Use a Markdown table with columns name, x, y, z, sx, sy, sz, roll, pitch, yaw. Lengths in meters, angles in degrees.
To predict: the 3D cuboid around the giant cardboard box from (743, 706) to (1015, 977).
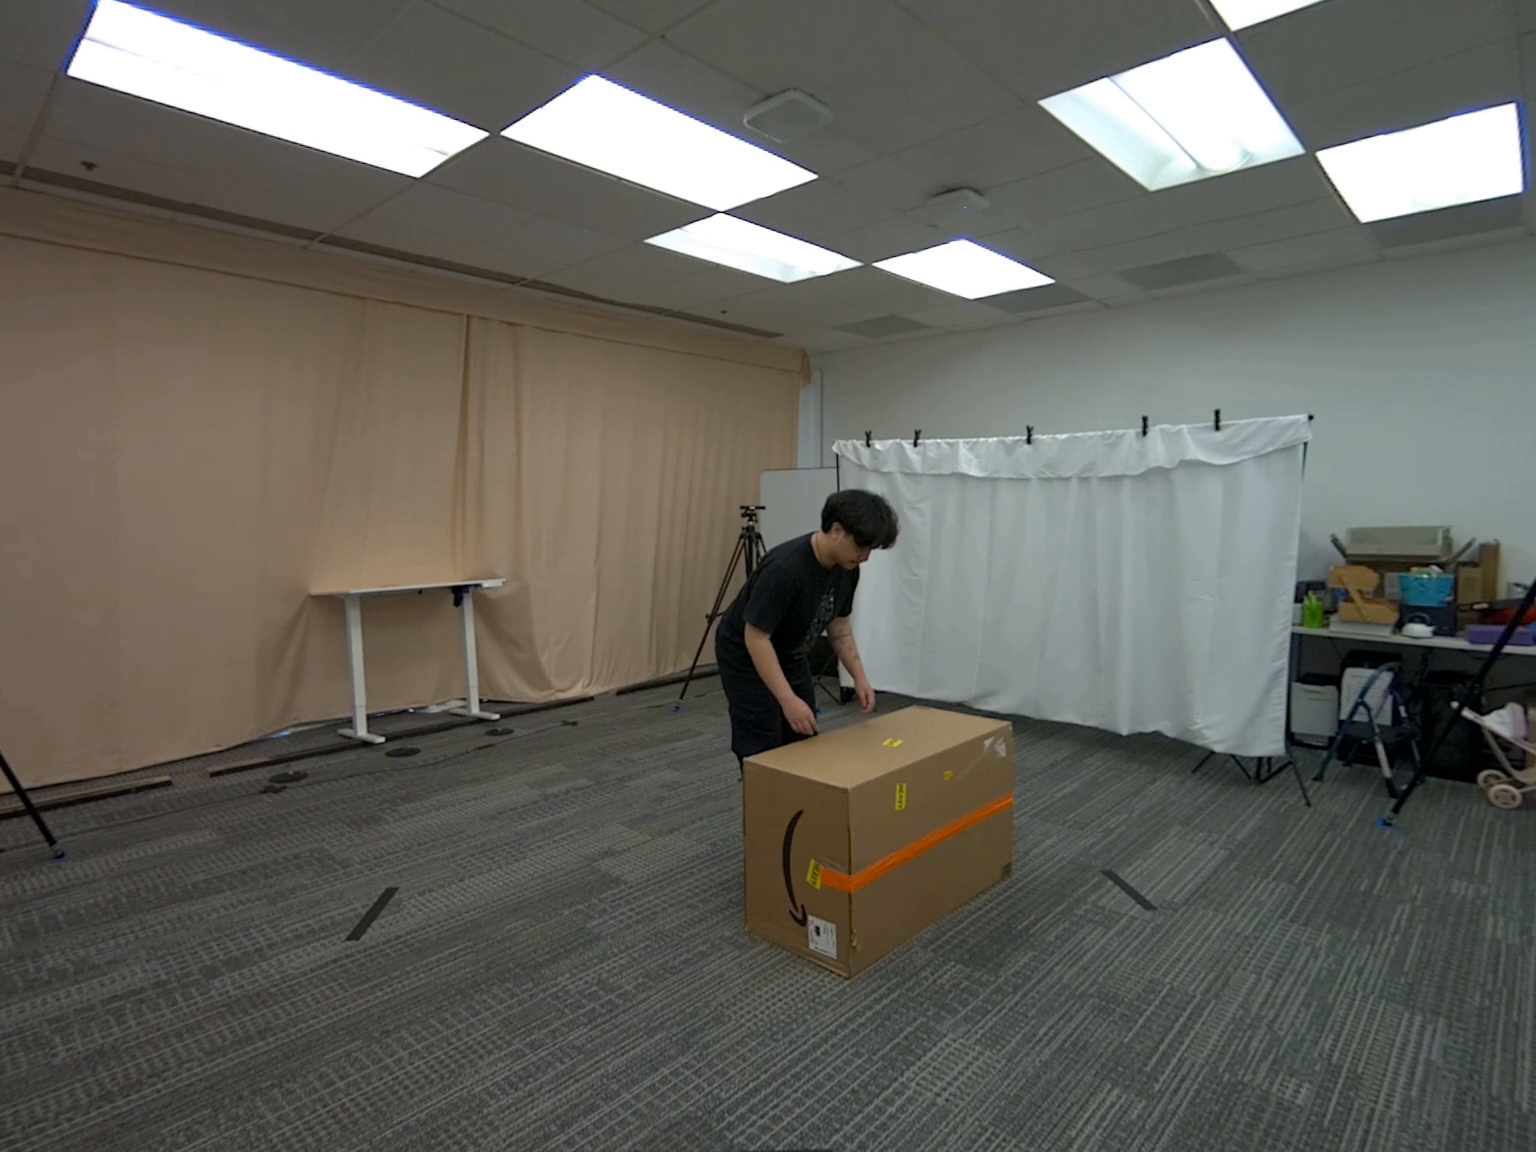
| name | x | y | z | sx | sy | sz | roll | pitch | yaw |
| --- | --- | --- | --- | --- | --- | --- | --- | --- | --- |
| giant cardboard box | 0.429 | 0.860 | 2.953 | 0.462 | 0.582 | 0.996 | 4 | 7 | 43 |
